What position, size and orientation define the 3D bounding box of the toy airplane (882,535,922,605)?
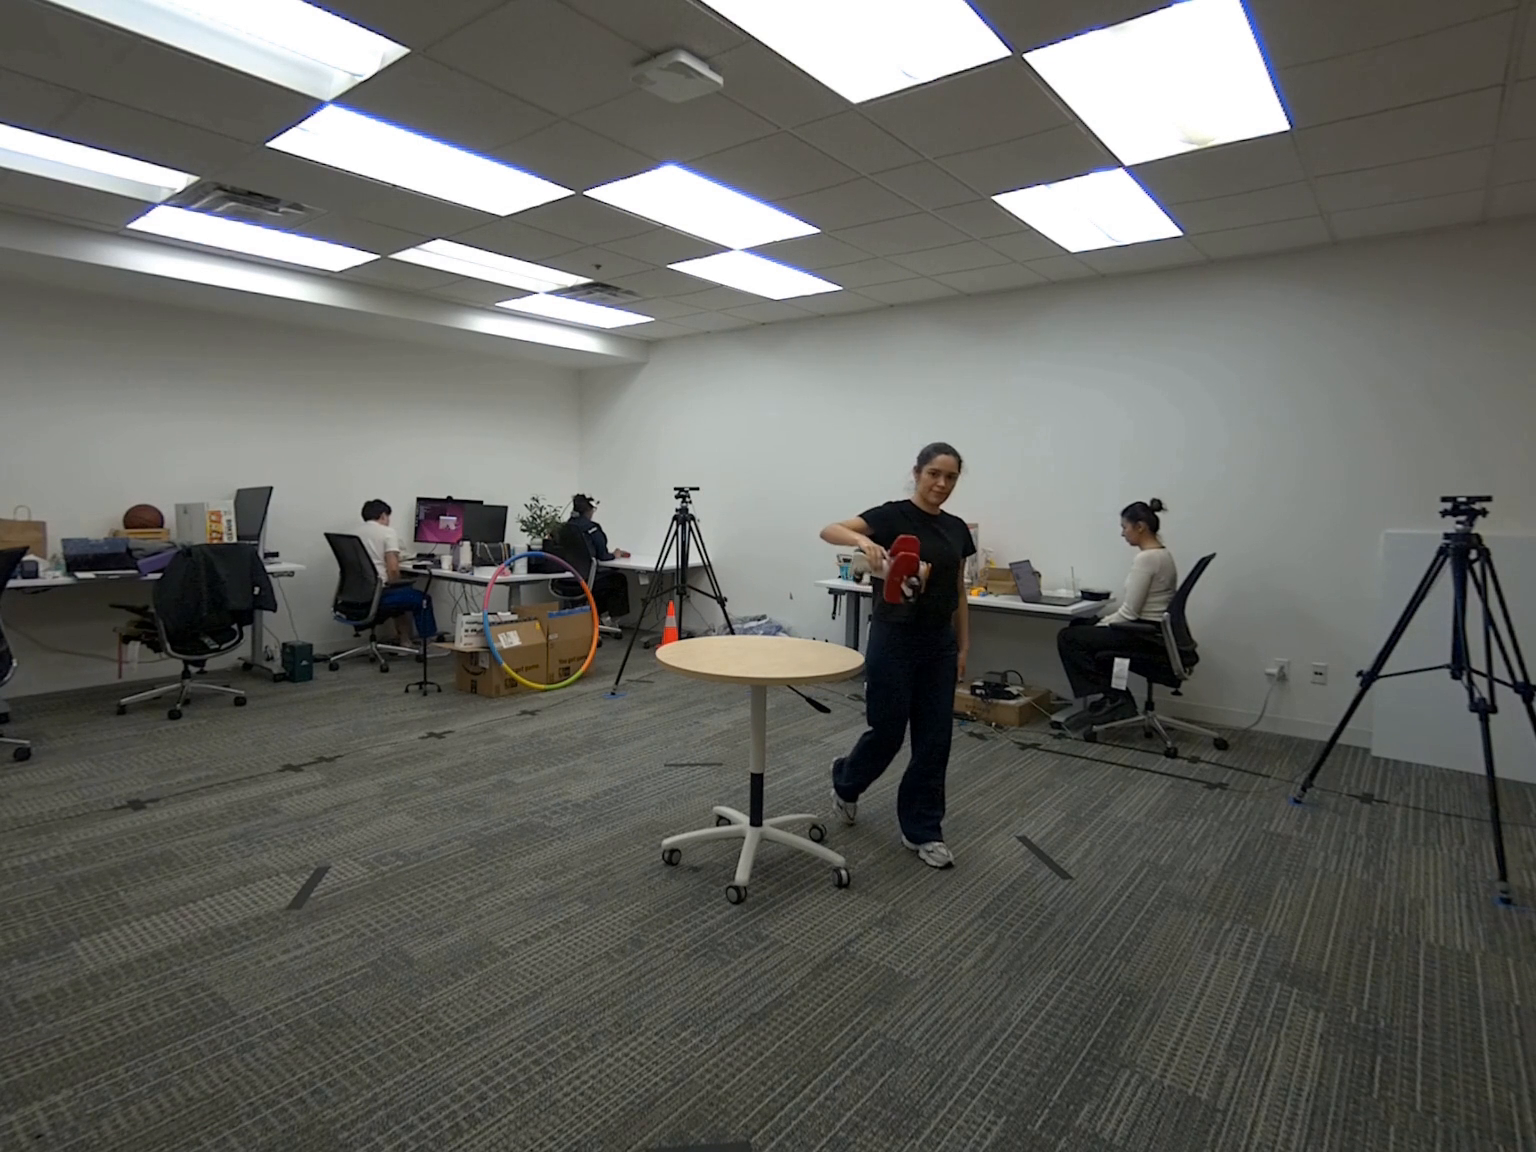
[{"bbox_3d":[0.421,-0.044,2.883,0.256,0.158,0.252,36,-41,-11],"label":"toy airplane"}]
